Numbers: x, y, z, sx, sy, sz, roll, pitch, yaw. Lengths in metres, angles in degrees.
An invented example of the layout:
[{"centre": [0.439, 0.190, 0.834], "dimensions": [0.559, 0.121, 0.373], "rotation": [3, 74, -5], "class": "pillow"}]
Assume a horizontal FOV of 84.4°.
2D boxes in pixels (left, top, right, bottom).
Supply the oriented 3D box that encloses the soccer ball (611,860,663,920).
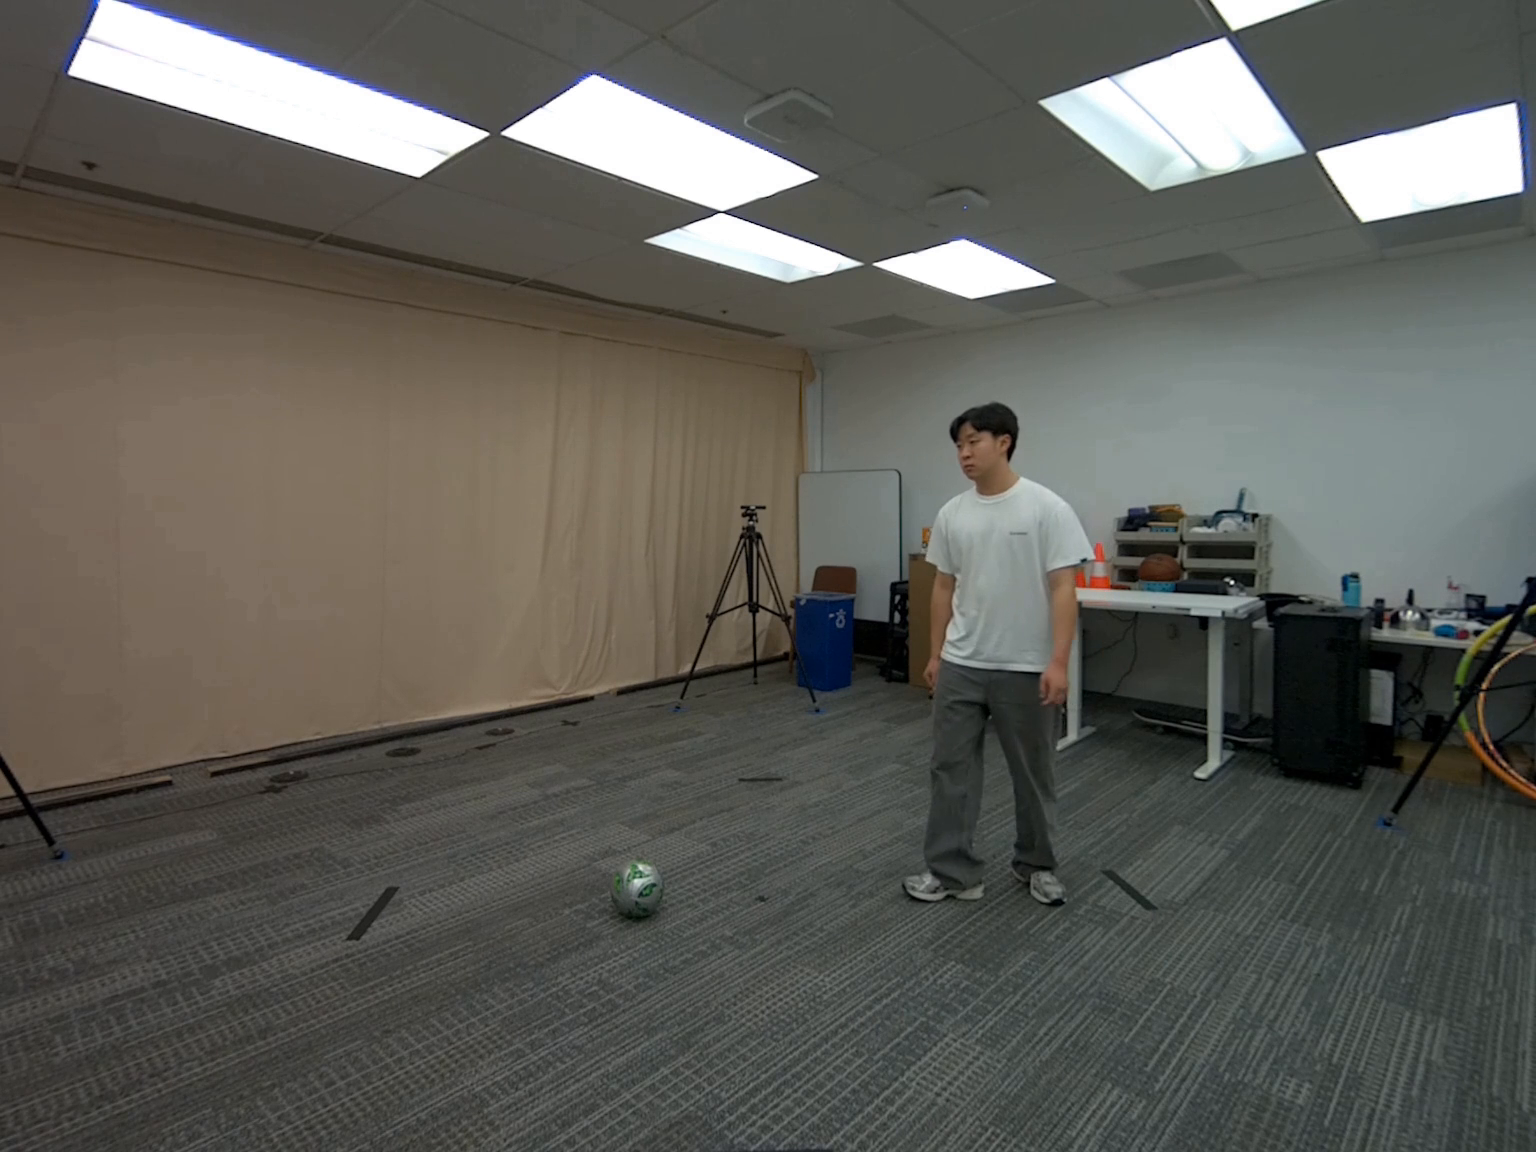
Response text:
[{"centre": [-0.437, 1.067, 2.875], "dimensions": [0.187, 0.187, 0.188], "rotation": [0, 4, -2], "class": "soccer ball"}]
